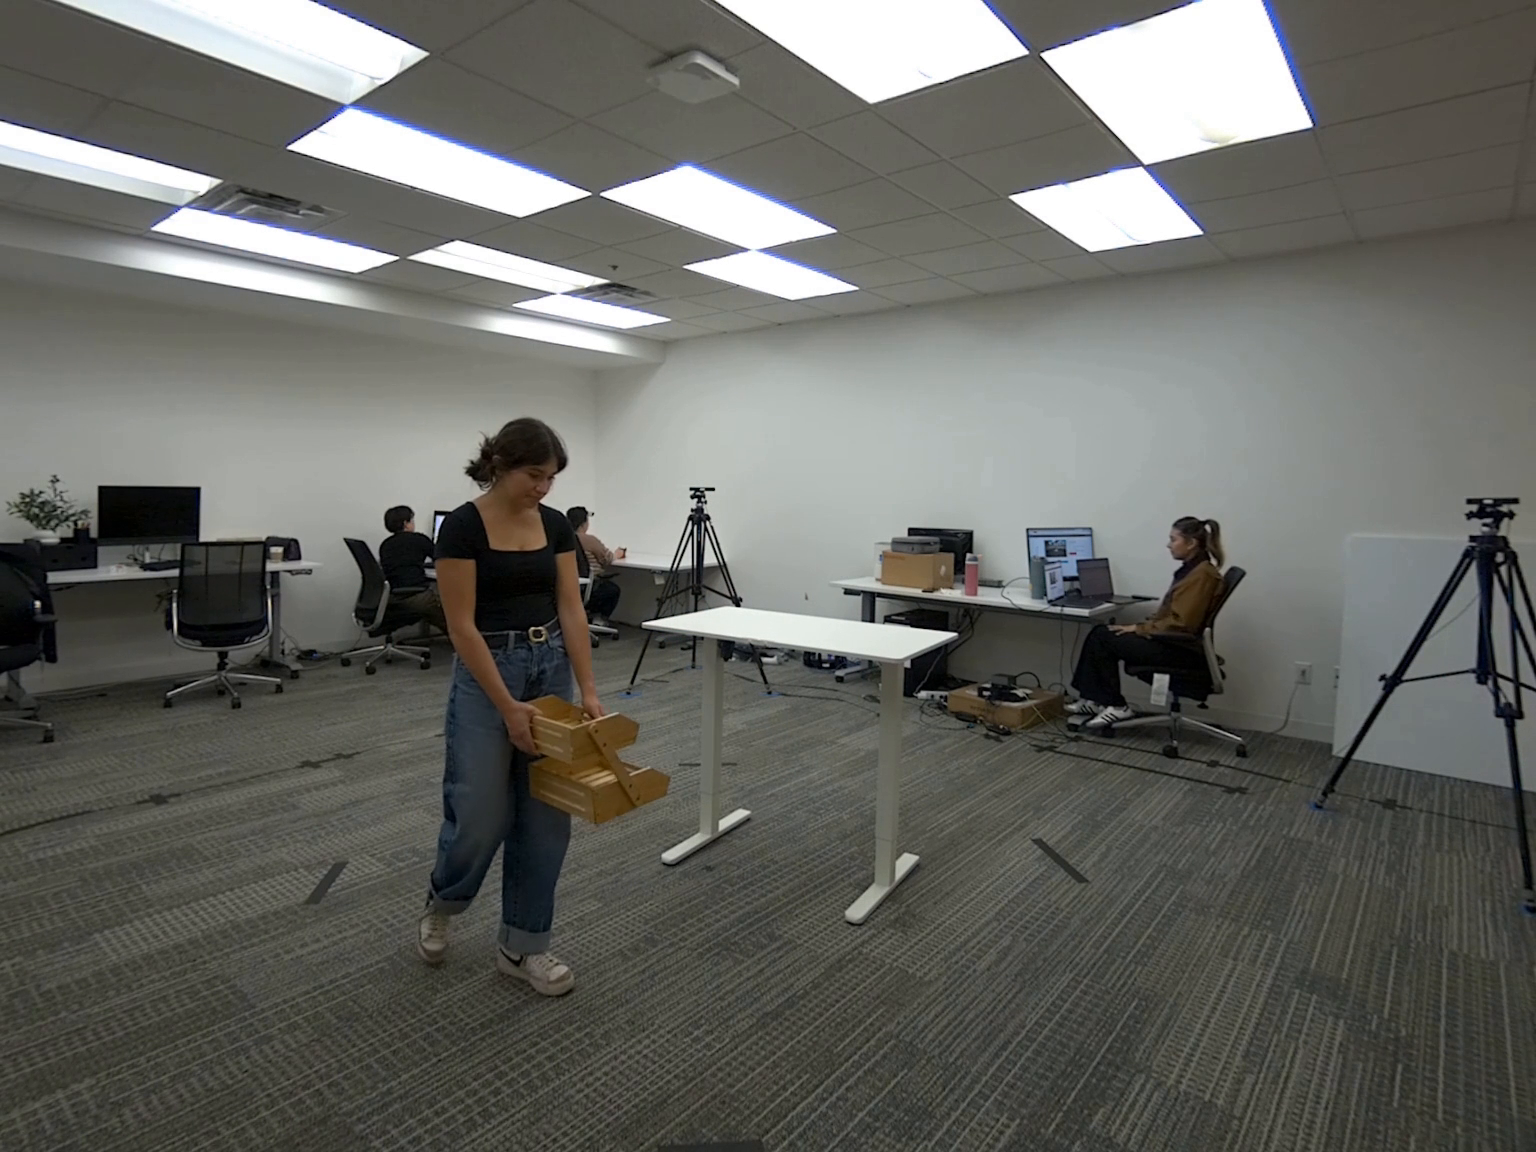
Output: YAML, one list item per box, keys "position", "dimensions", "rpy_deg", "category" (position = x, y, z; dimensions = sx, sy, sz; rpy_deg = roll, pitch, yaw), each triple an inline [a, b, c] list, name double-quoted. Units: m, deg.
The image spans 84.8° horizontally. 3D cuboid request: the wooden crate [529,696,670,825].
- position: [-0.491, 0.460, 2.261]
  dimensions: [0.335, 0.272, 0.294]
  rpy_deg: [2, 9, 43]
  category: "wooden crate"
